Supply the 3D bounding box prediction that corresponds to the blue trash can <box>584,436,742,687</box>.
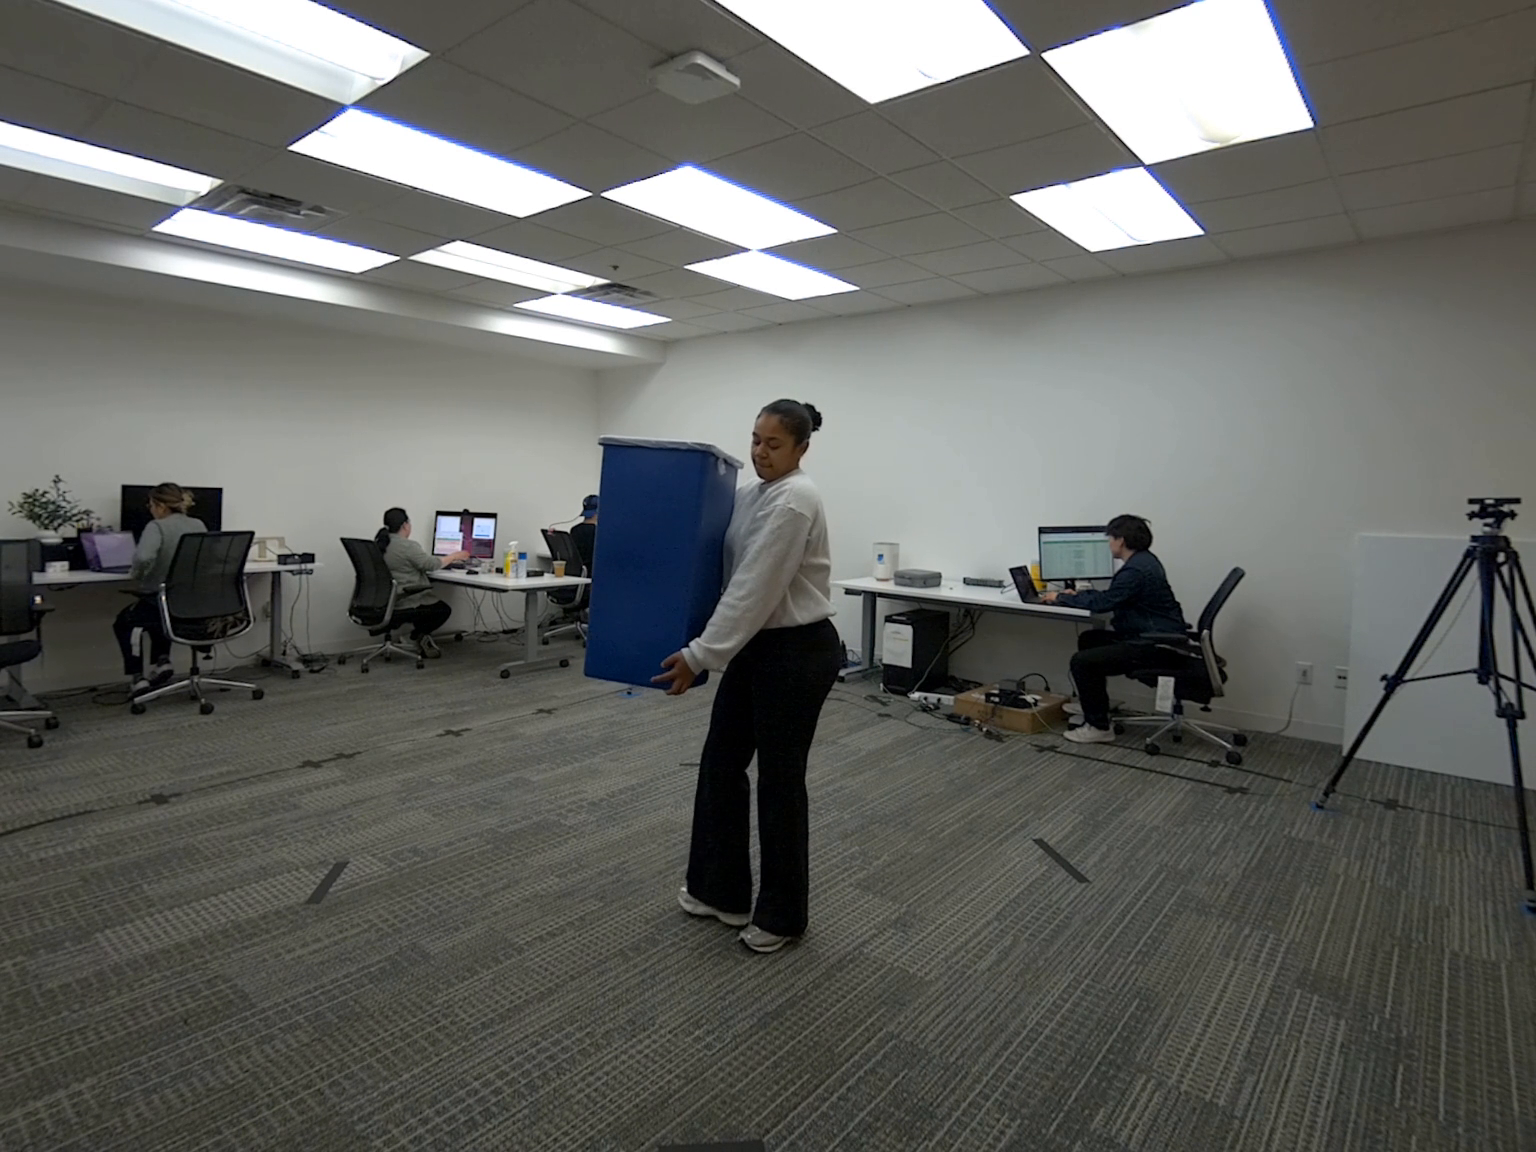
[{"bbox_3d":[-0.342,-0.043,2.626,0.385,0.715,0.366,6,-2,15],"label":"blue trash can"}]
